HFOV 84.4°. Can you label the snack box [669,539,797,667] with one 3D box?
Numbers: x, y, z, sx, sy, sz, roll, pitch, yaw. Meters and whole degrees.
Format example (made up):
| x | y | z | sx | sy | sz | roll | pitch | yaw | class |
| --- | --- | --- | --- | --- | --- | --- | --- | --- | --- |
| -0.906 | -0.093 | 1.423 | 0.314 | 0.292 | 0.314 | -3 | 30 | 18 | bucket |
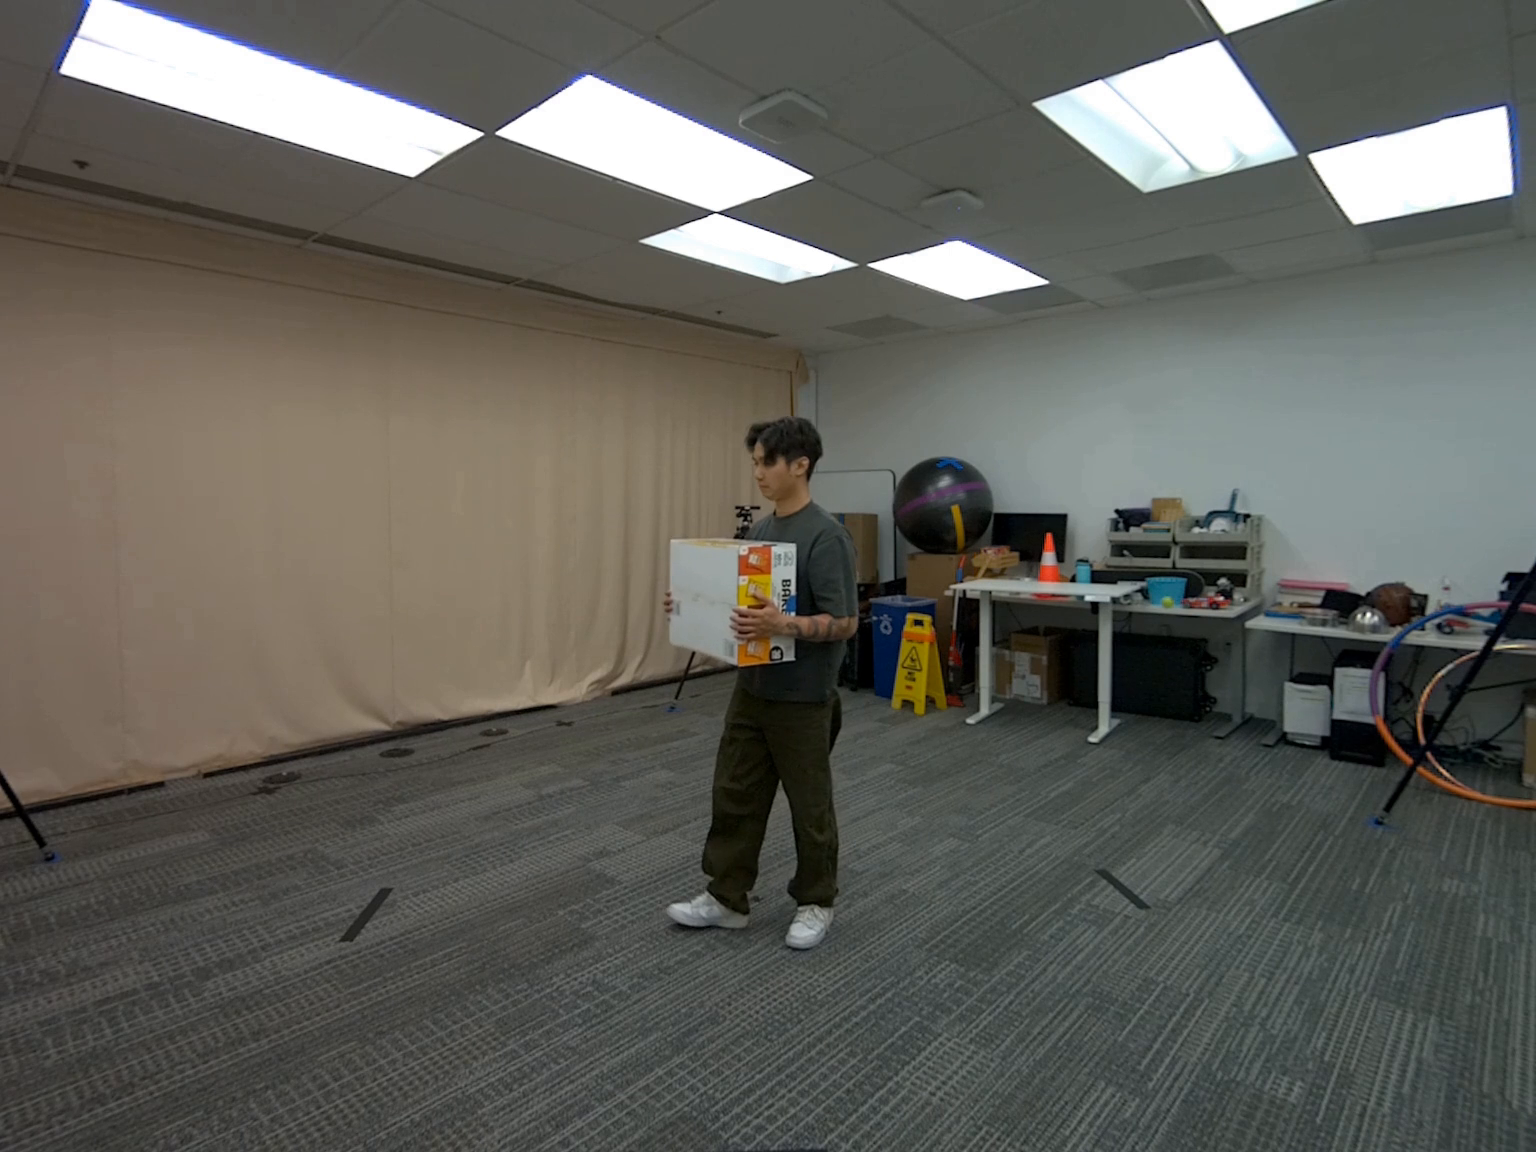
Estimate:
| x | y | z | sx | sy | sz | roll | pitch | yaw | class |
| --- | --- | --- | --- | --- | --- | --- | --- | --- | --- |
| -0.117 | 0.065 | 2.581 | 0.200 | 0.339 | 0.418 | -2 | 4 | -35 | snack box |
